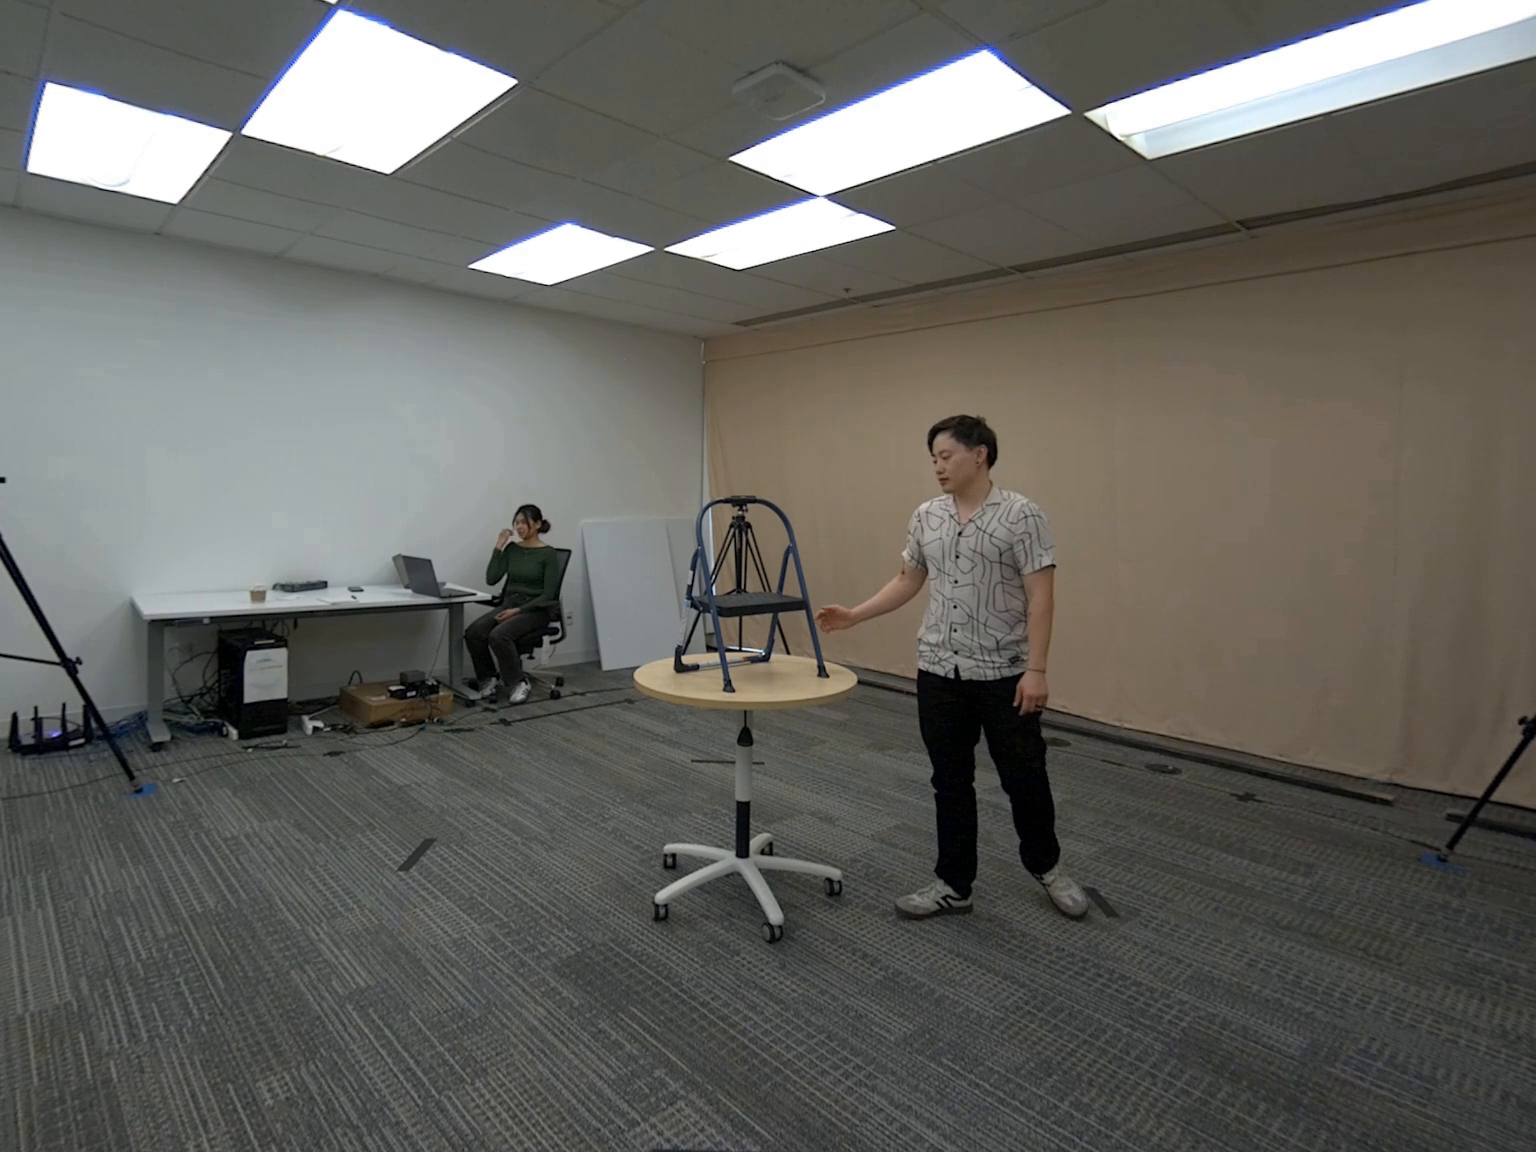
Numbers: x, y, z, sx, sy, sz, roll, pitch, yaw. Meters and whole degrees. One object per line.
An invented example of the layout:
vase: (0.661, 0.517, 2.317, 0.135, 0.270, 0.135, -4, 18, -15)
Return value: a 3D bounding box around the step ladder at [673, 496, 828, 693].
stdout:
step ladder: (-0.060, 0.040, 2.868, 0.421, 0.604, 0.358, -2, 6, -37)
